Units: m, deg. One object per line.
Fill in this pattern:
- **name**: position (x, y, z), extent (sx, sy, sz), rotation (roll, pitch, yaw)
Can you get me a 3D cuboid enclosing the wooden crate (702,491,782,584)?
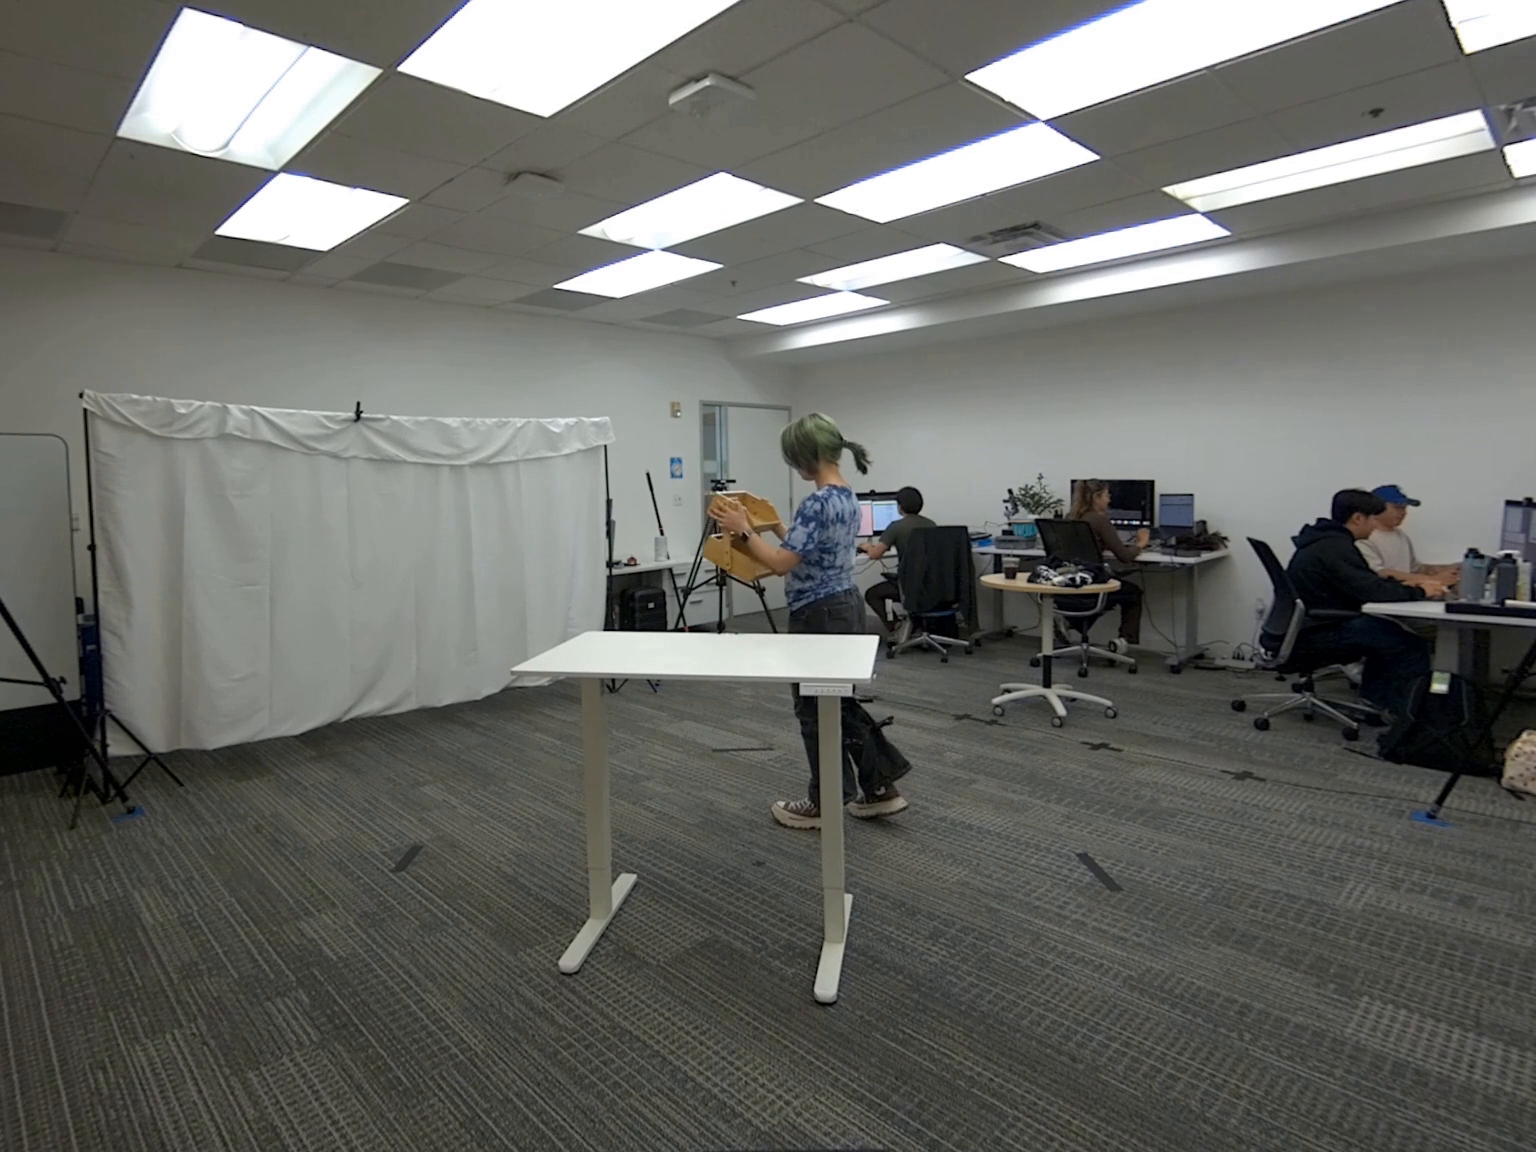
- **wooden crate**: position (-0.070, -0.167, 3.515), extent (0.309, 0.271, 0.319), rotation (30, 16, 16)
